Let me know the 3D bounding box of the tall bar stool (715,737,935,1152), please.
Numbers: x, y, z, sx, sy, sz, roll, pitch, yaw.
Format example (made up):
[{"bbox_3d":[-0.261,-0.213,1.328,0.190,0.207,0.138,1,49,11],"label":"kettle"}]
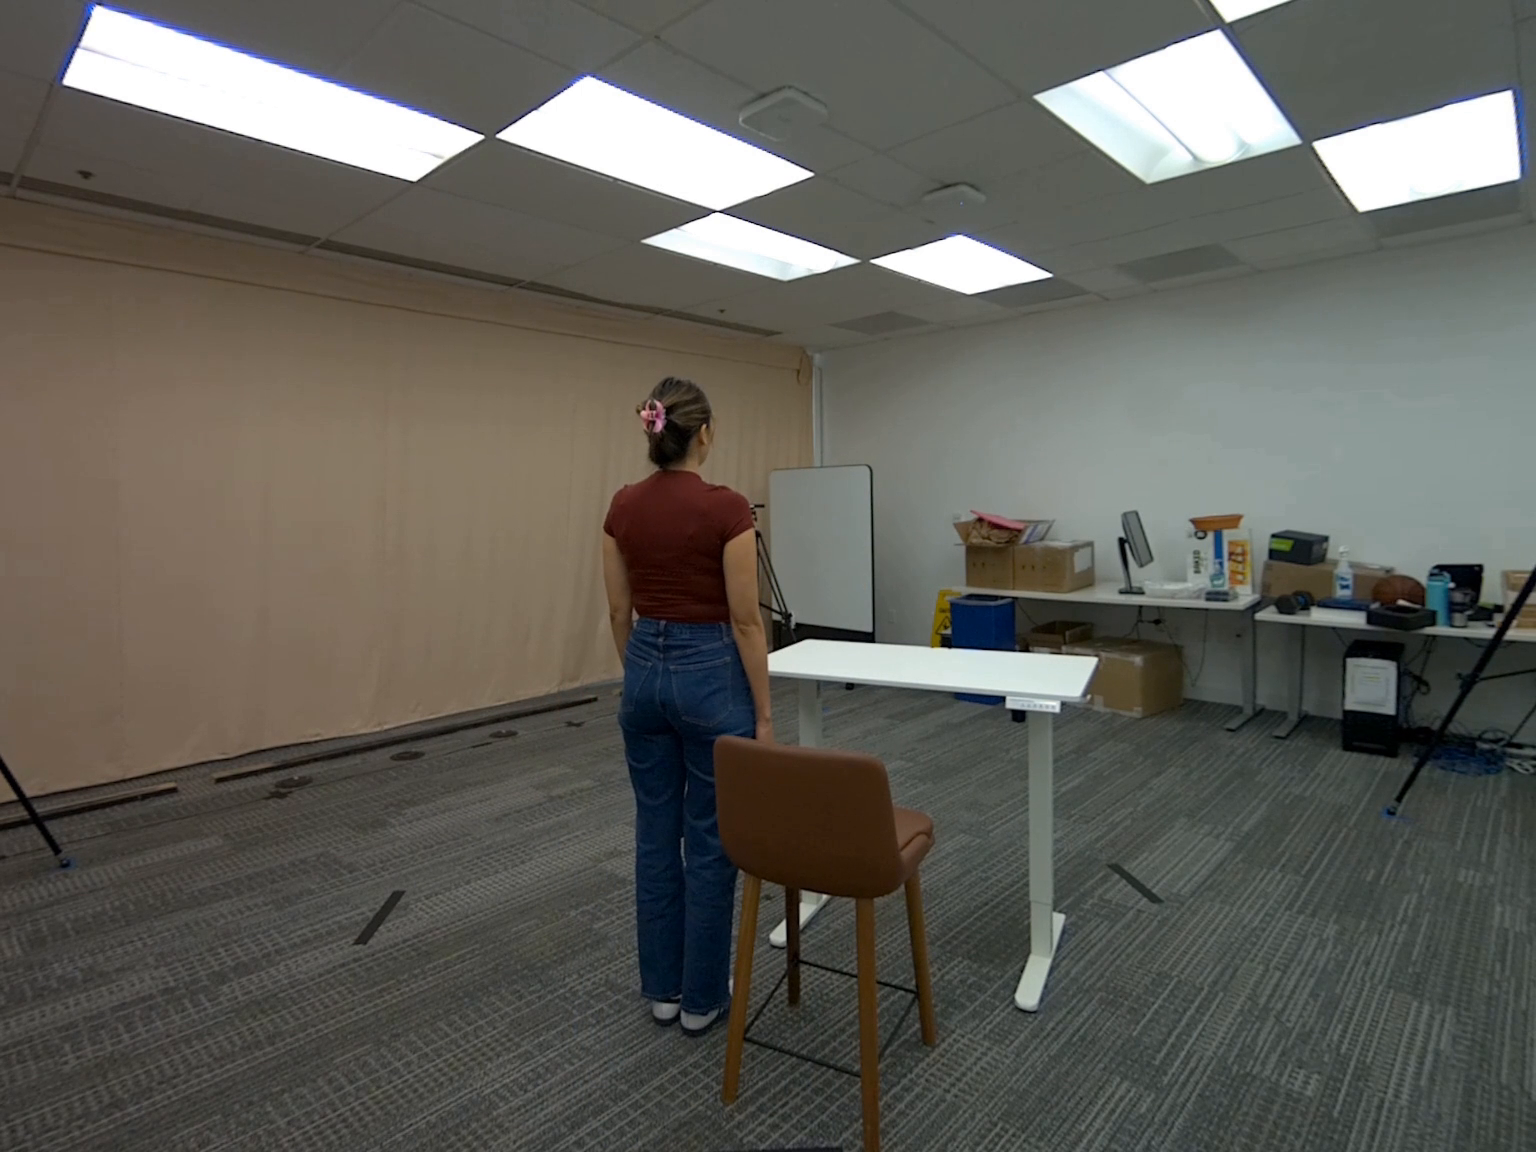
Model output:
[{"bbox_3d":[0.156,0.783,2.043,0.469,0.887,0.456,2,6,28],"label":"tall bar stool"}]
